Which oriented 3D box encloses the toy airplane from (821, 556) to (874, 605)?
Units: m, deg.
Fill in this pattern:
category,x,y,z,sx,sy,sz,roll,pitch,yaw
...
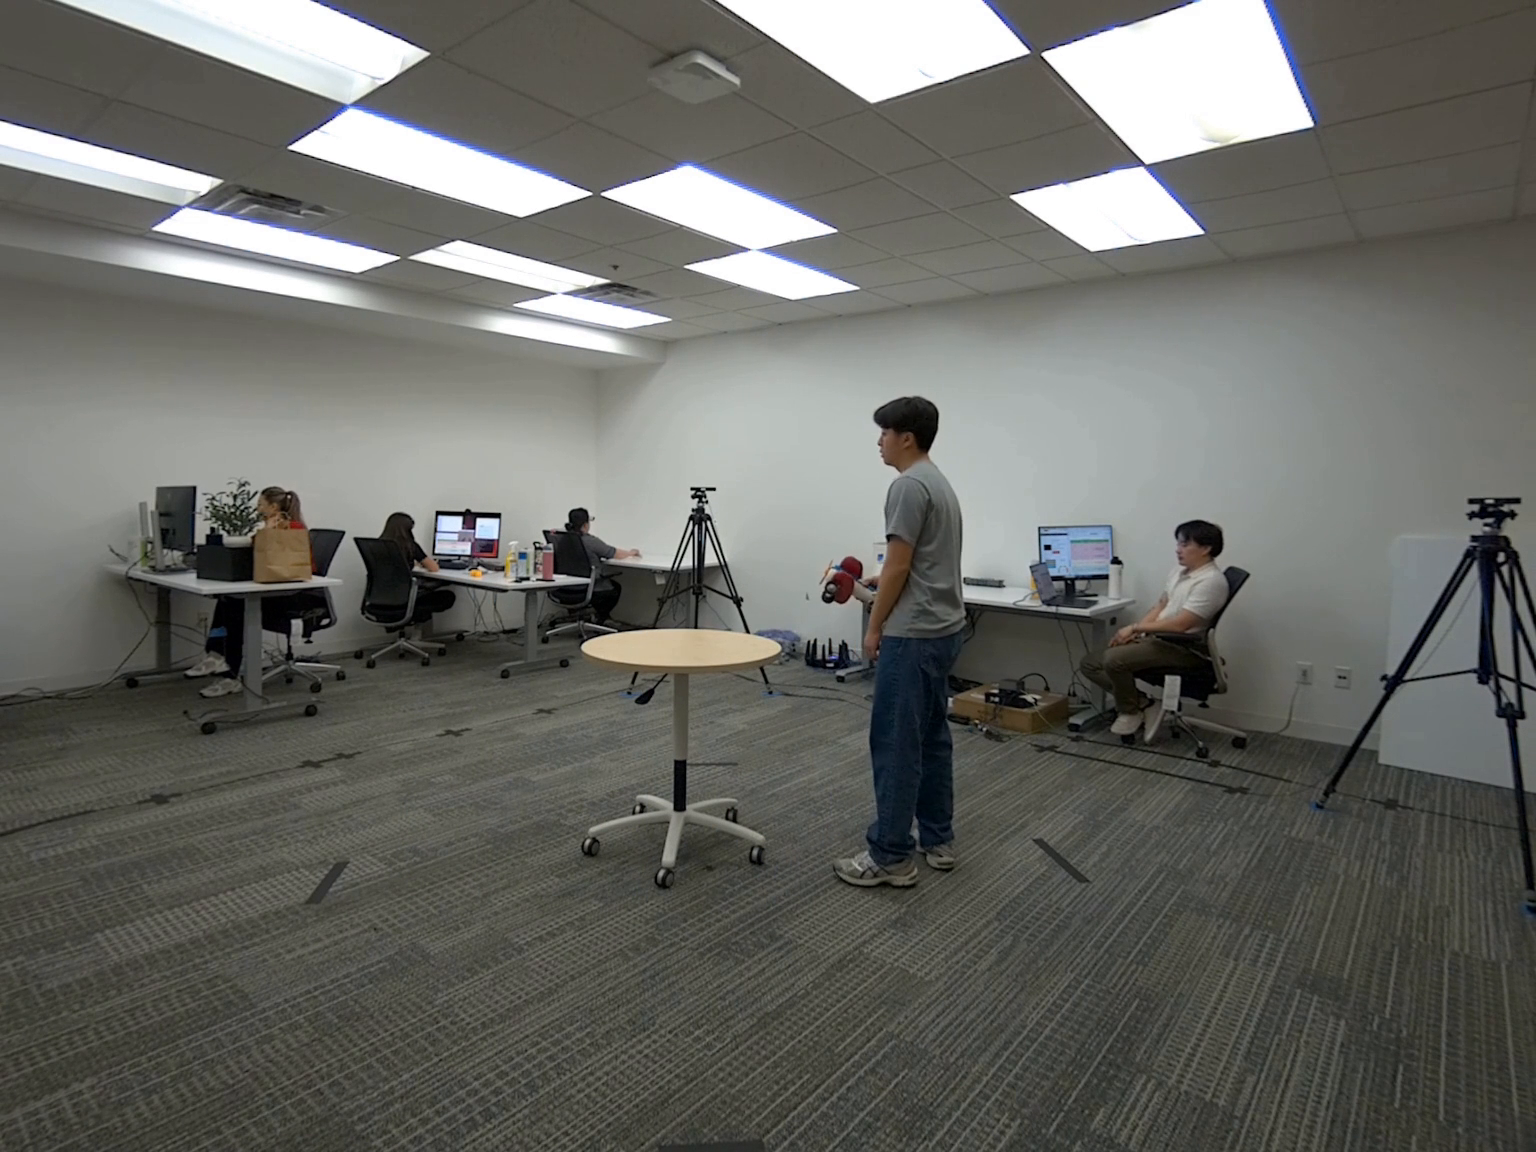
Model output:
category,x,y,z,sx,sy,sz,roll,pitch,yaw
toy airplane,0.334,0.045,3.446,0.253,0.158,0.254,31,-28,-20
